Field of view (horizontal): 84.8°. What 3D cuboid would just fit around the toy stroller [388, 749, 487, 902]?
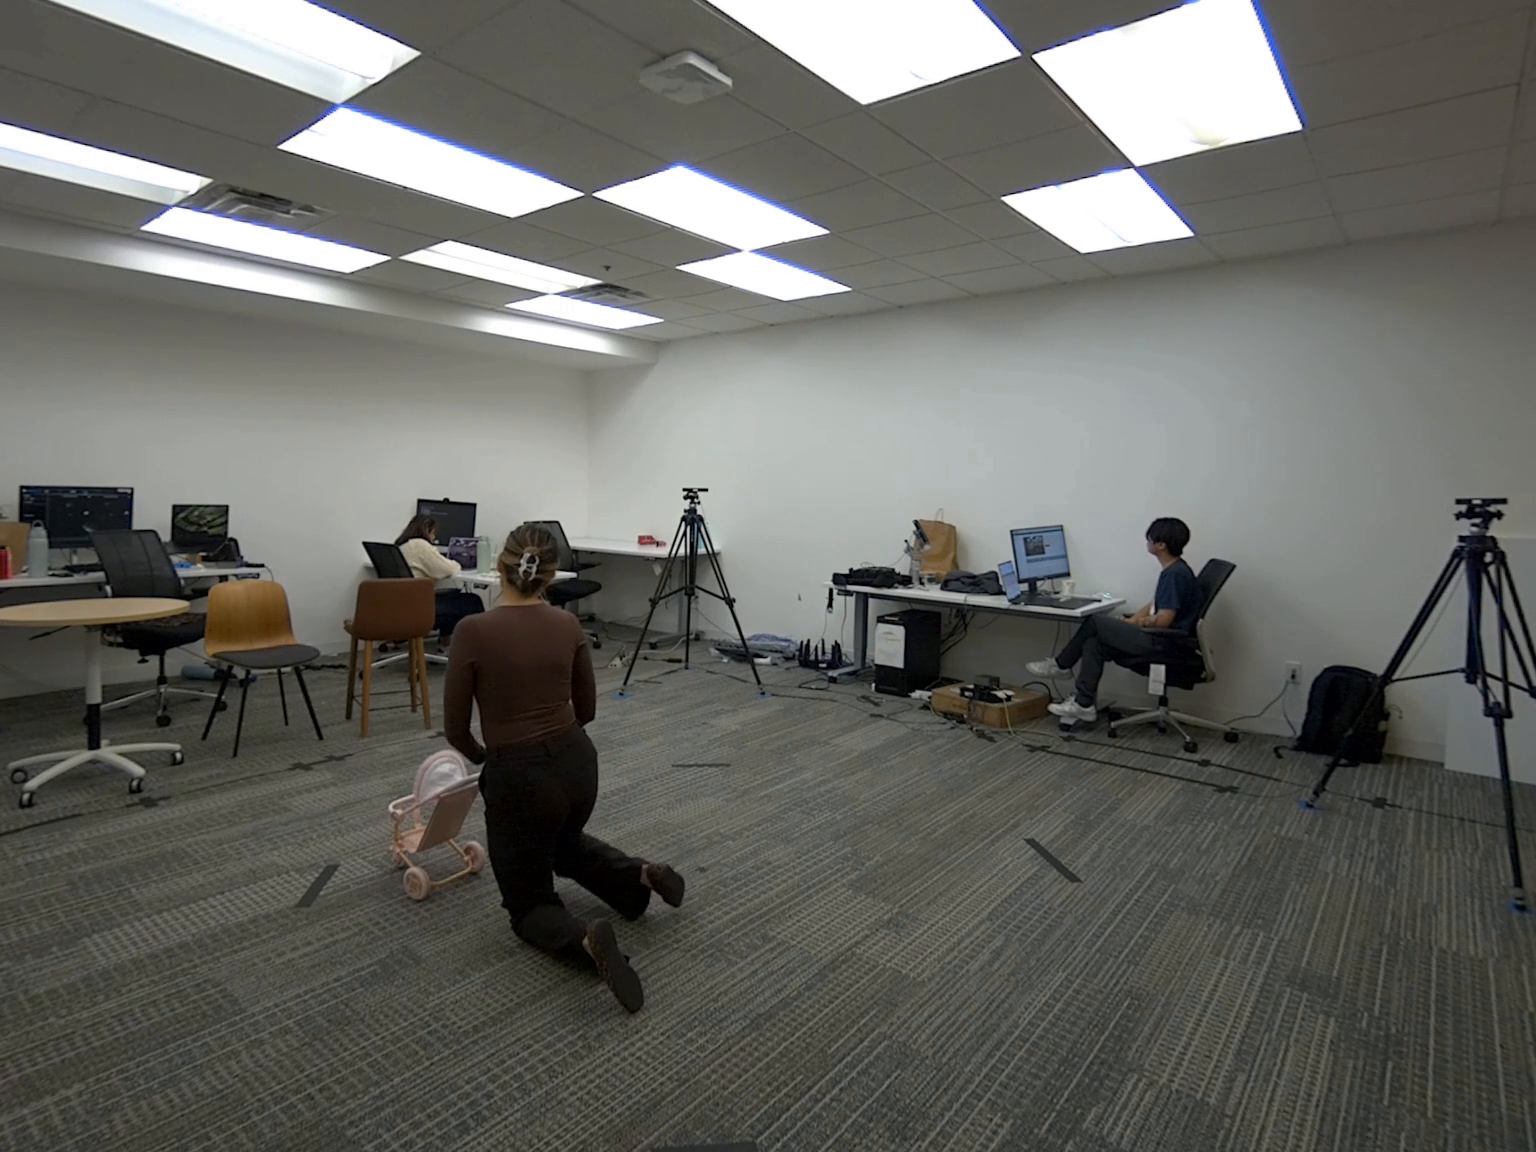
[{"bbox_3d":[-1.175,0.844,2.975,0.354,0.530,0.273,24,15,32],"label":"toy stroller"}]
